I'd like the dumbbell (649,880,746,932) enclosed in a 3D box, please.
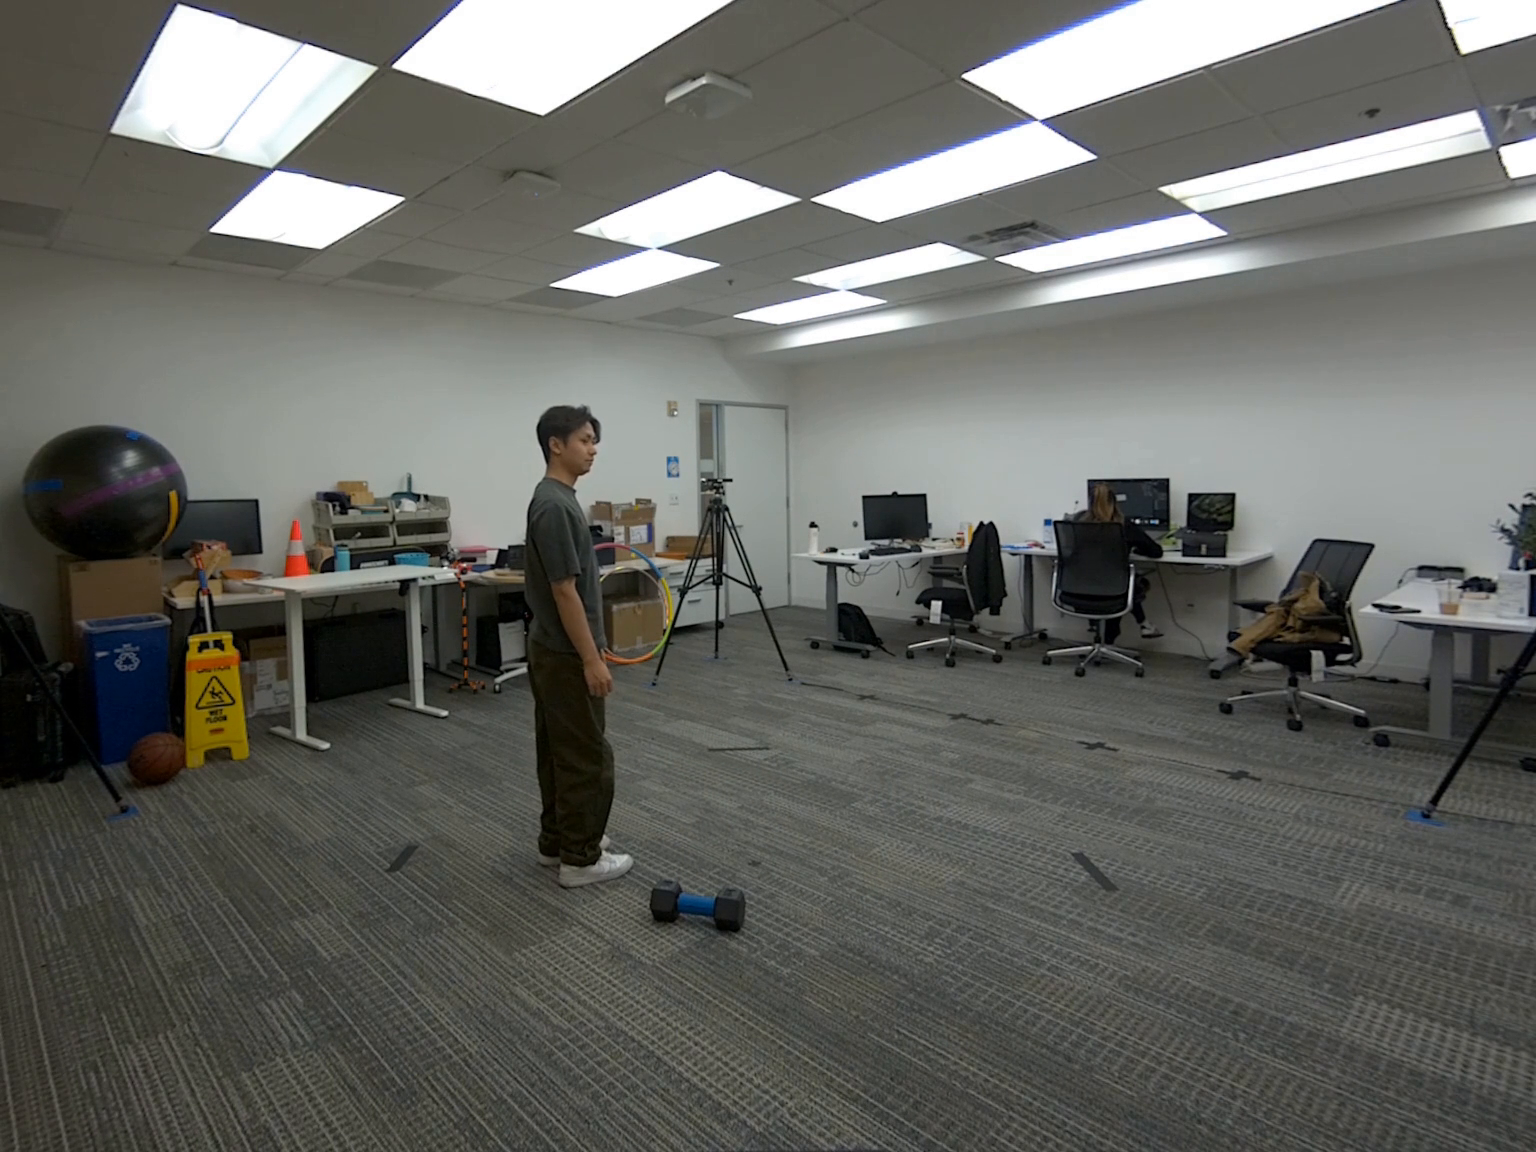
[{"bbox_3d":[-0.216,1.039,2.702,0.298,0.108,0.121,2,4,16],"label":"dumbbell"}]
